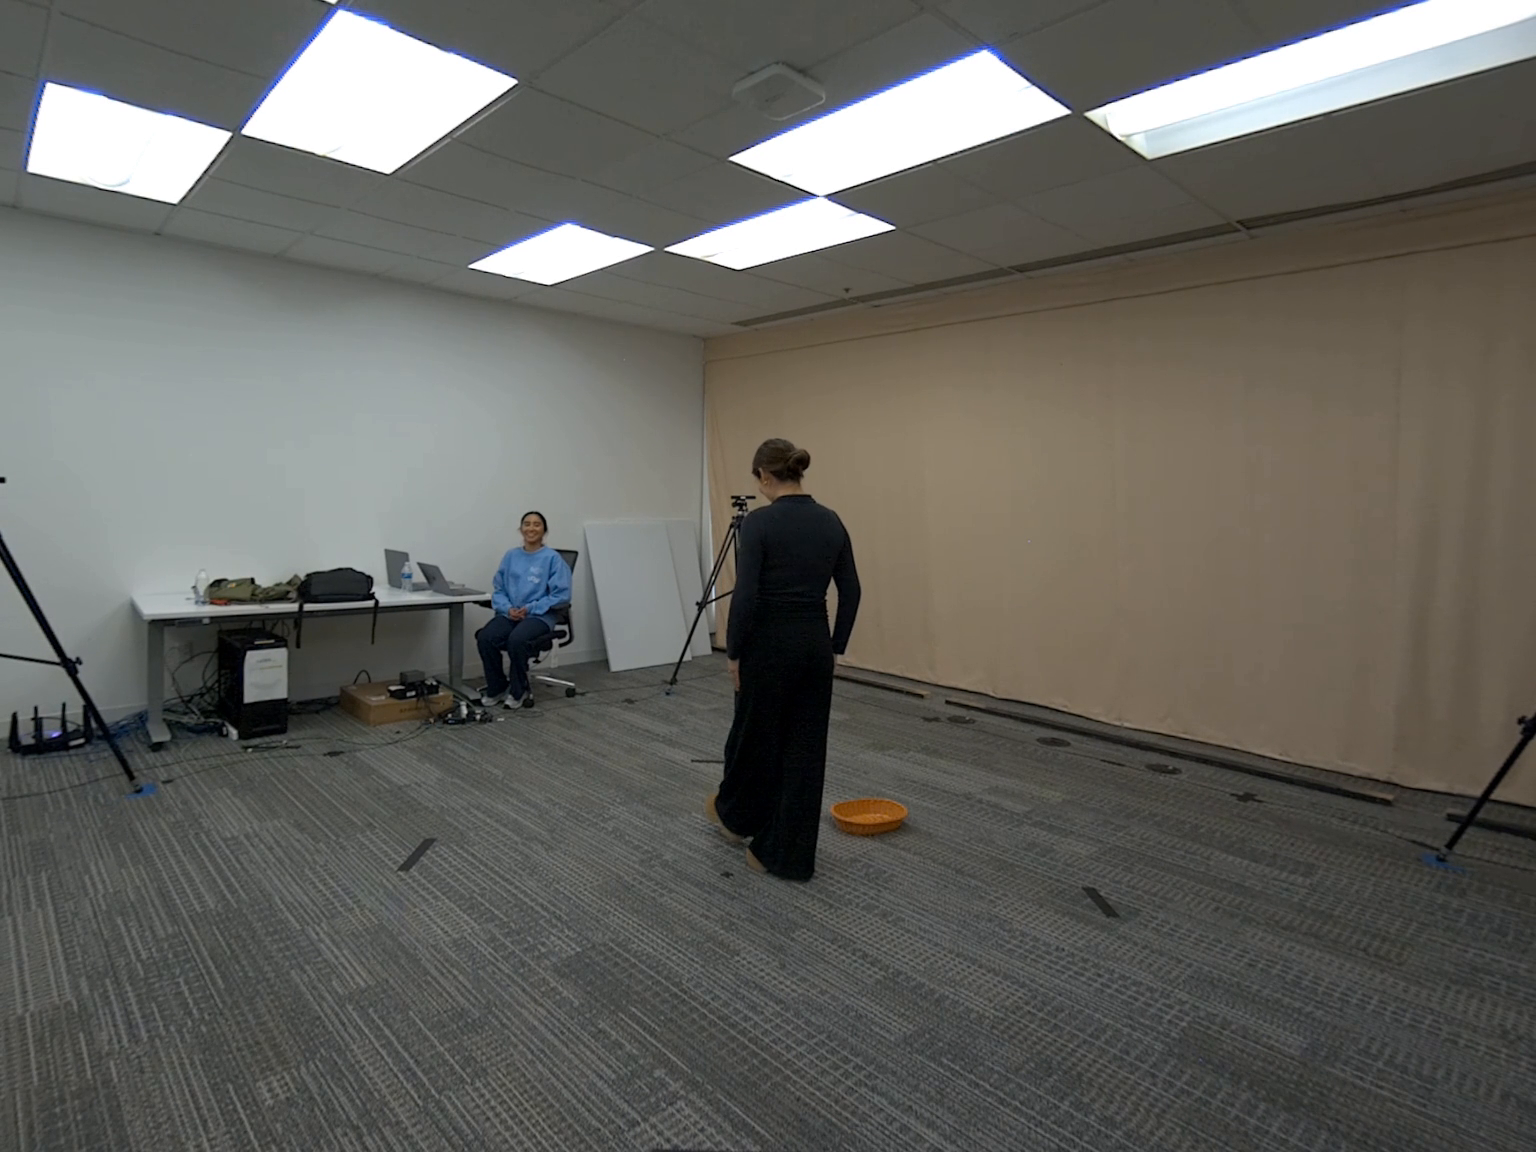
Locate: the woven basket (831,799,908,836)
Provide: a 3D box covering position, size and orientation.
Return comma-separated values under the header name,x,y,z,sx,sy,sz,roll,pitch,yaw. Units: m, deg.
name,x,y,z,sx,sy,sz,roll,pitch,yaw
woven basket,0.420,1.028,3.610,0.345,0.073,0.257,0,6,-21
